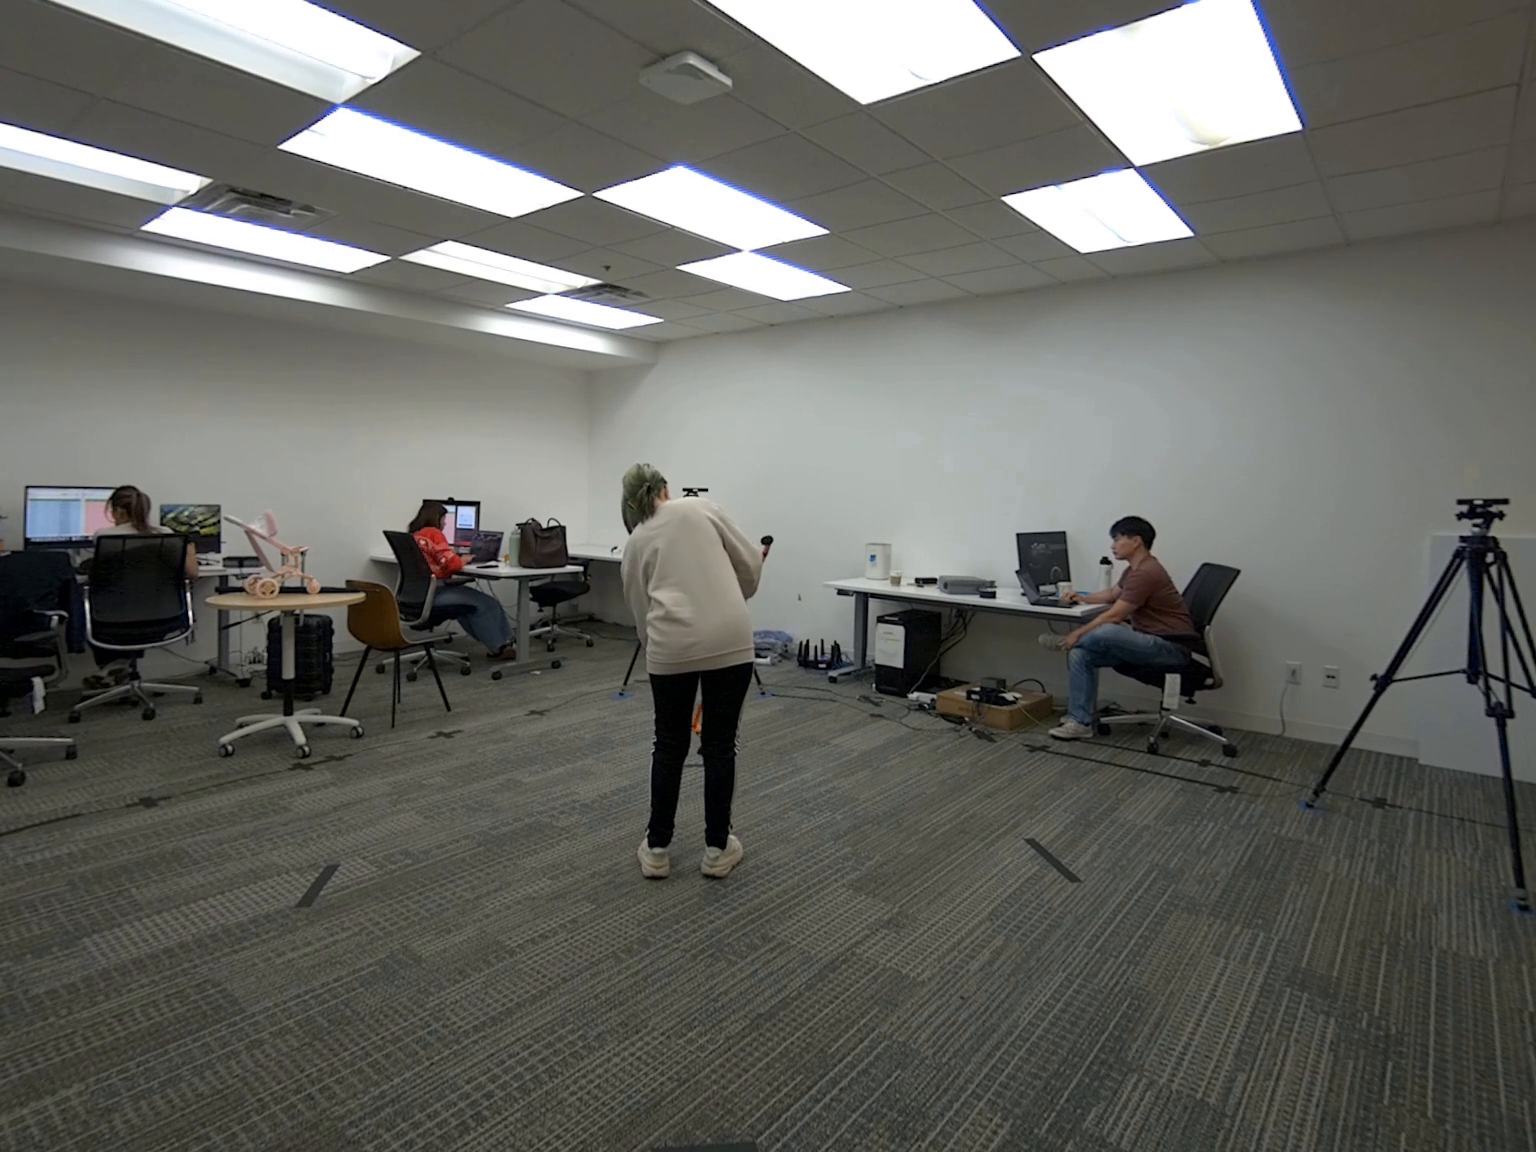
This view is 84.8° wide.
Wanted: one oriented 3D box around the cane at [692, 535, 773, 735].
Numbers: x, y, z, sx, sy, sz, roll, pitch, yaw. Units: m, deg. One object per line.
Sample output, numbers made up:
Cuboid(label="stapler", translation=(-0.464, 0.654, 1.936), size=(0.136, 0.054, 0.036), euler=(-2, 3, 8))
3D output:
Cuboid(label="cane", translation=(-0.169, 0.270, 3.466), size=(0.153, 0.905, 0.205), euler=(20, 6, 4))
